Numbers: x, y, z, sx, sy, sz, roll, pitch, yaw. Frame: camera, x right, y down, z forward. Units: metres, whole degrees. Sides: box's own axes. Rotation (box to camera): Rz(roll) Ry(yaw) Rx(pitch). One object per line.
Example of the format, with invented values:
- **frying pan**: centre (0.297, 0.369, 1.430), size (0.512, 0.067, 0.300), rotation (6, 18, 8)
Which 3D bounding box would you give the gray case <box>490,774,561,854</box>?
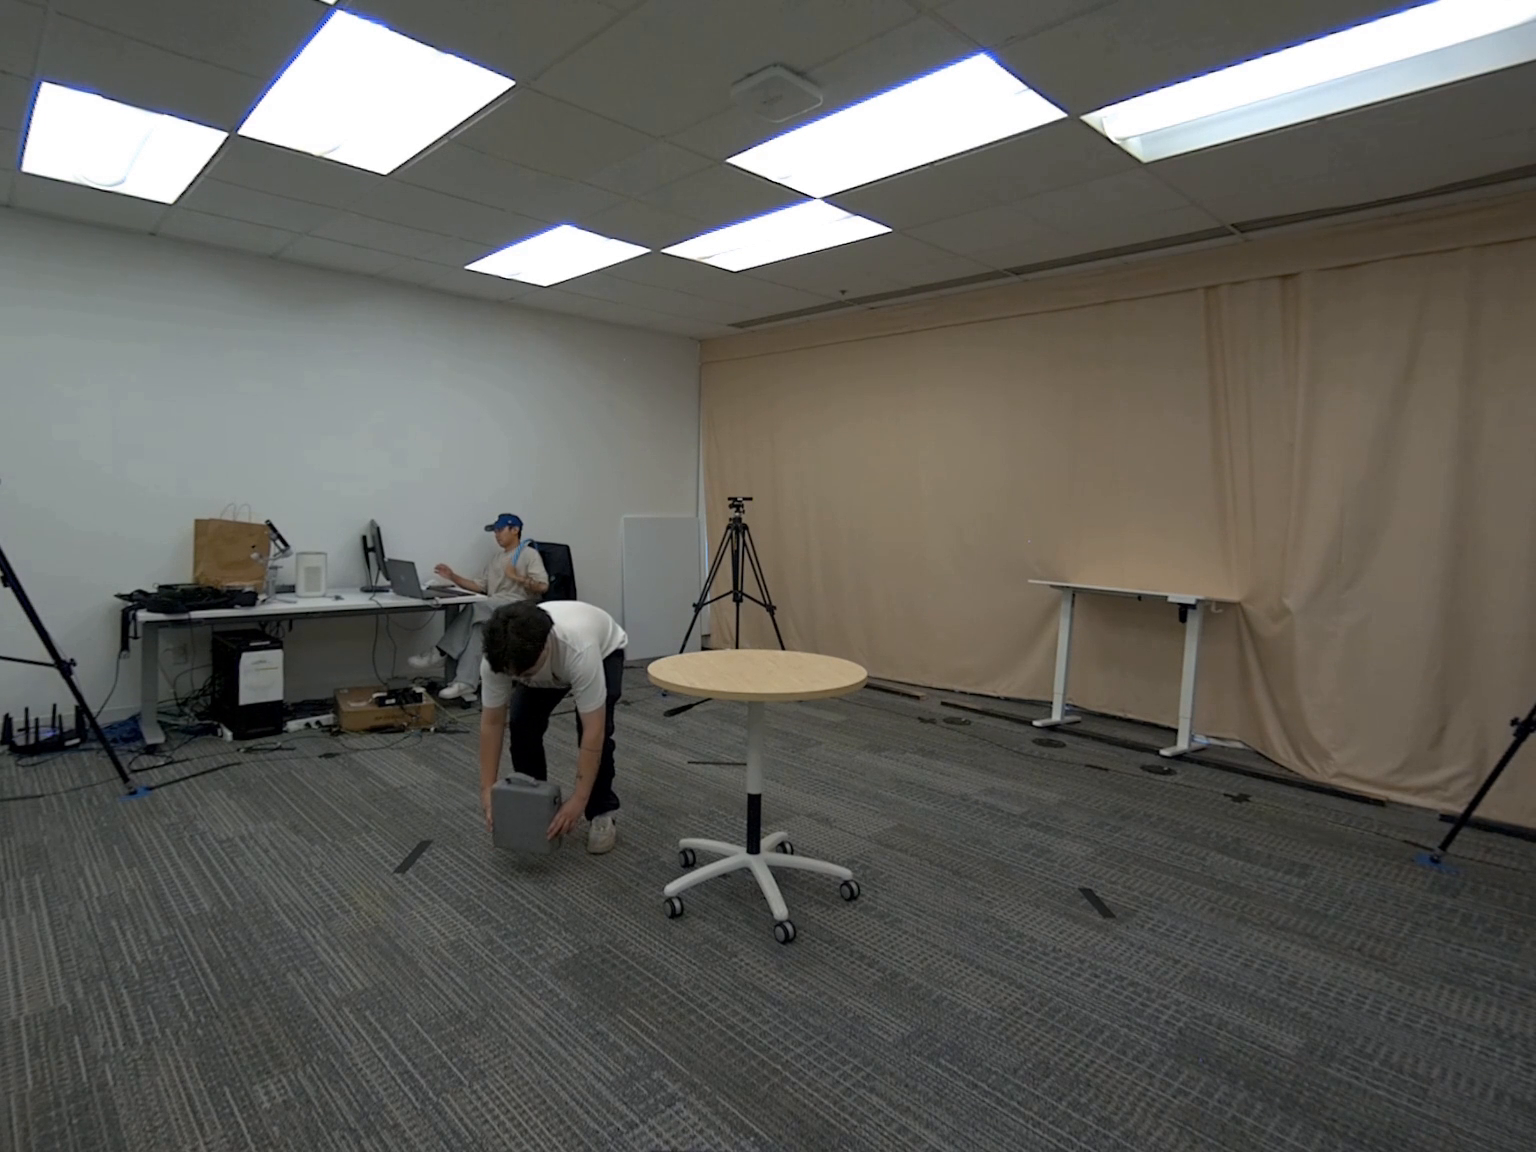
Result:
- **gray case**: centre (-0.891, 0.872, 3.071), size (0.260, 0.259, 0.103), rotation (0, 7, 15)
